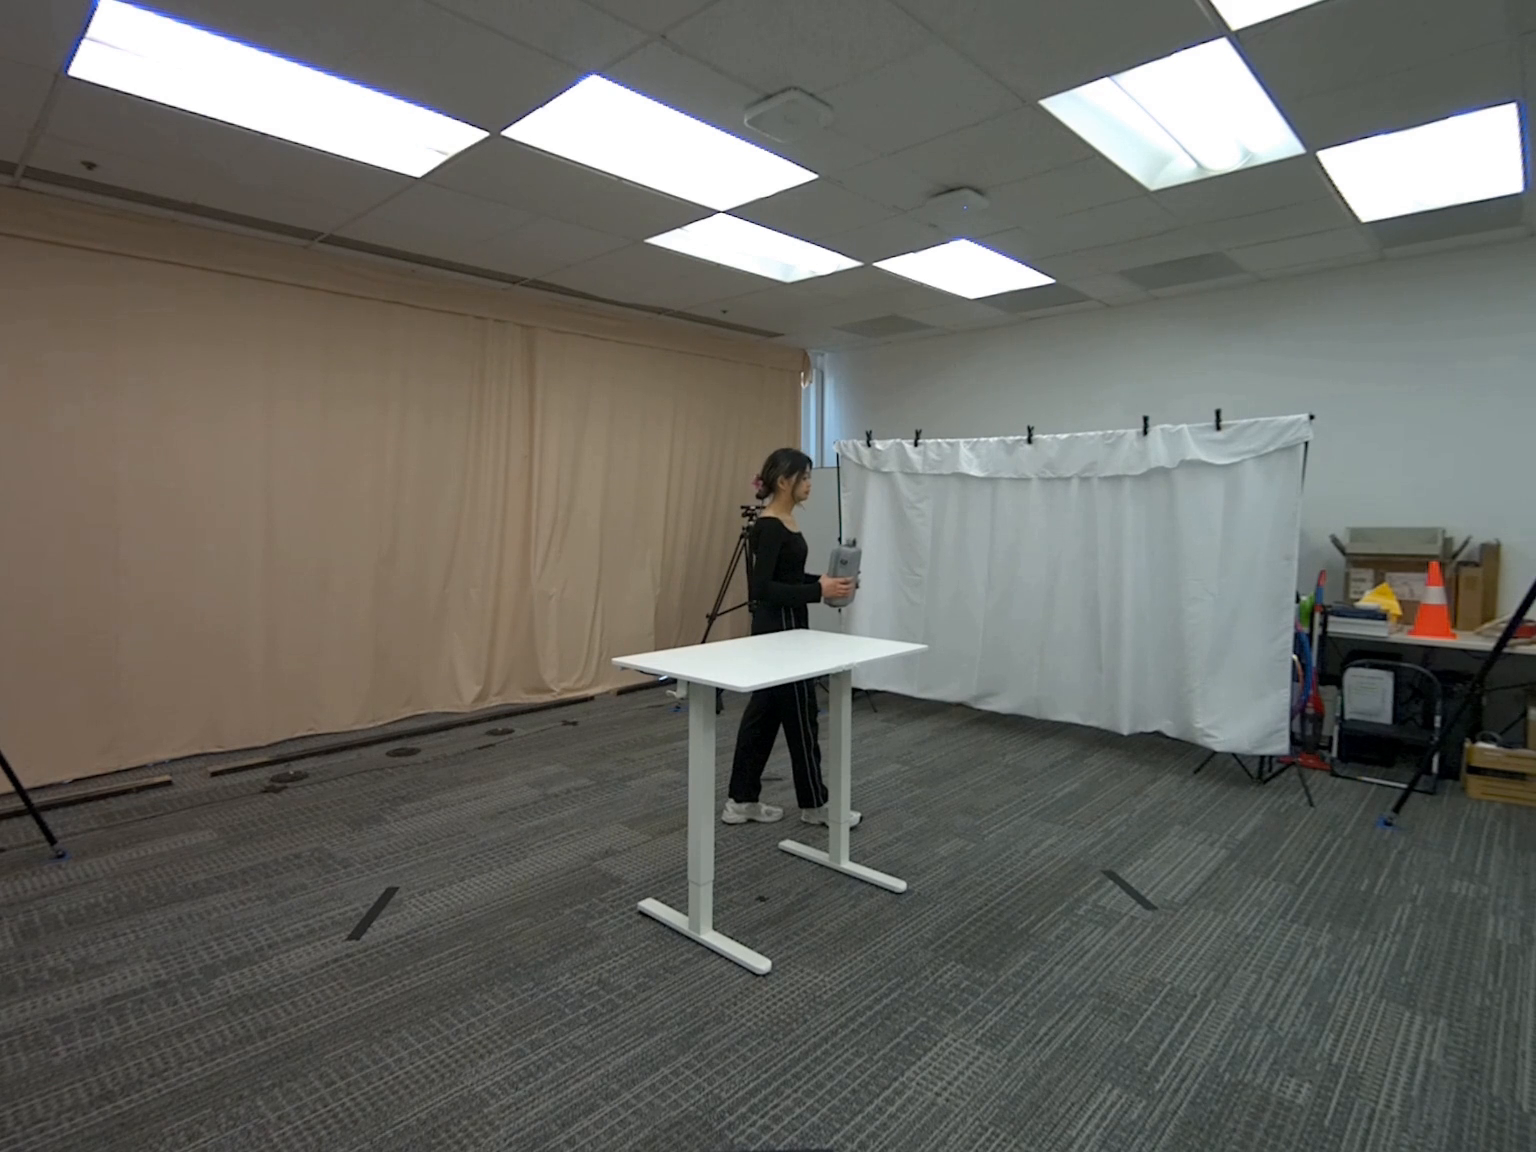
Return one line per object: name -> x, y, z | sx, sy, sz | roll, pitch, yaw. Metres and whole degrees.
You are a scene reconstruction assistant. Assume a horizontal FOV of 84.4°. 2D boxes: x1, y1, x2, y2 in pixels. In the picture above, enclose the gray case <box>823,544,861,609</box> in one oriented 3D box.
gray case -> 0.320, -0.009, 3.614 | 0.106, 0.260, 0.254 | 10, 7, 10
